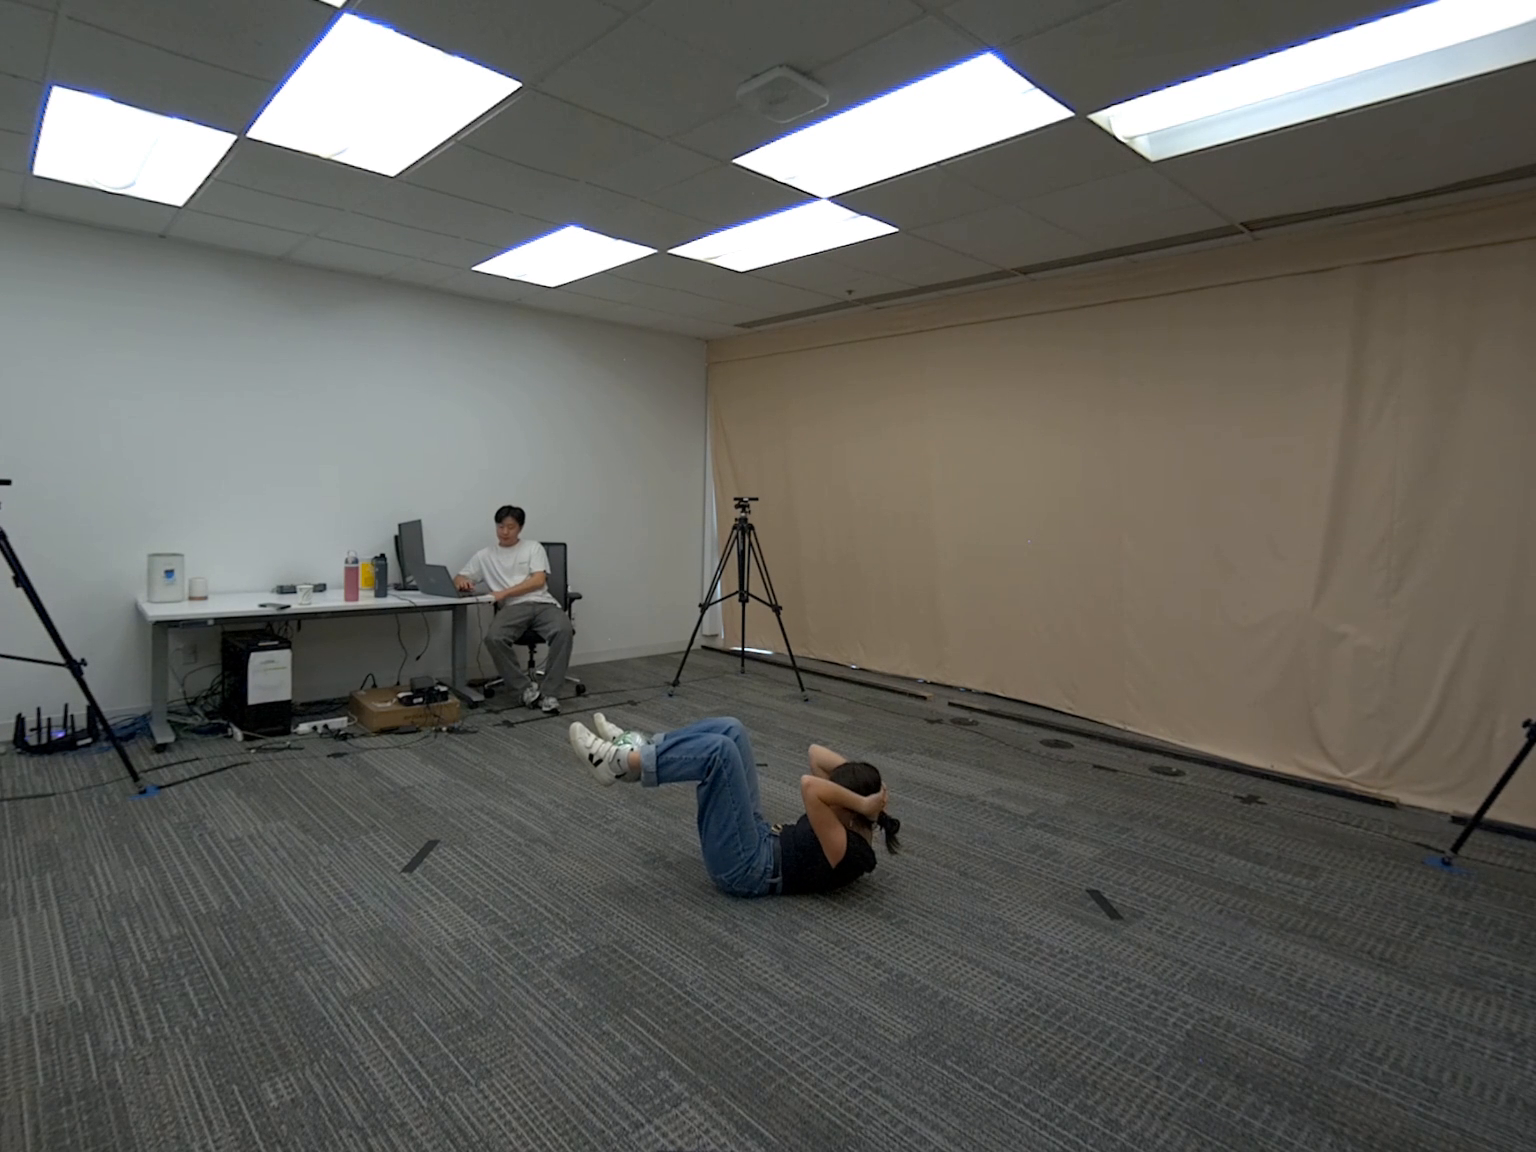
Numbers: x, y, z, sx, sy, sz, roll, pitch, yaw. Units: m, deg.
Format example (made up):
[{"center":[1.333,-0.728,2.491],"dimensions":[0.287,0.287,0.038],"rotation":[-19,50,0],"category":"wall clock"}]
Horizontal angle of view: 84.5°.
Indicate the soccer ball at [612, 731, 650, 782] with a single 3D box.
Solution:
[{"center":[-0.511,0.678,3.098],"dimensions":[0.187,0.186,0.188],"rotation":[1,7,-1],"category":"soccer ball"}]
